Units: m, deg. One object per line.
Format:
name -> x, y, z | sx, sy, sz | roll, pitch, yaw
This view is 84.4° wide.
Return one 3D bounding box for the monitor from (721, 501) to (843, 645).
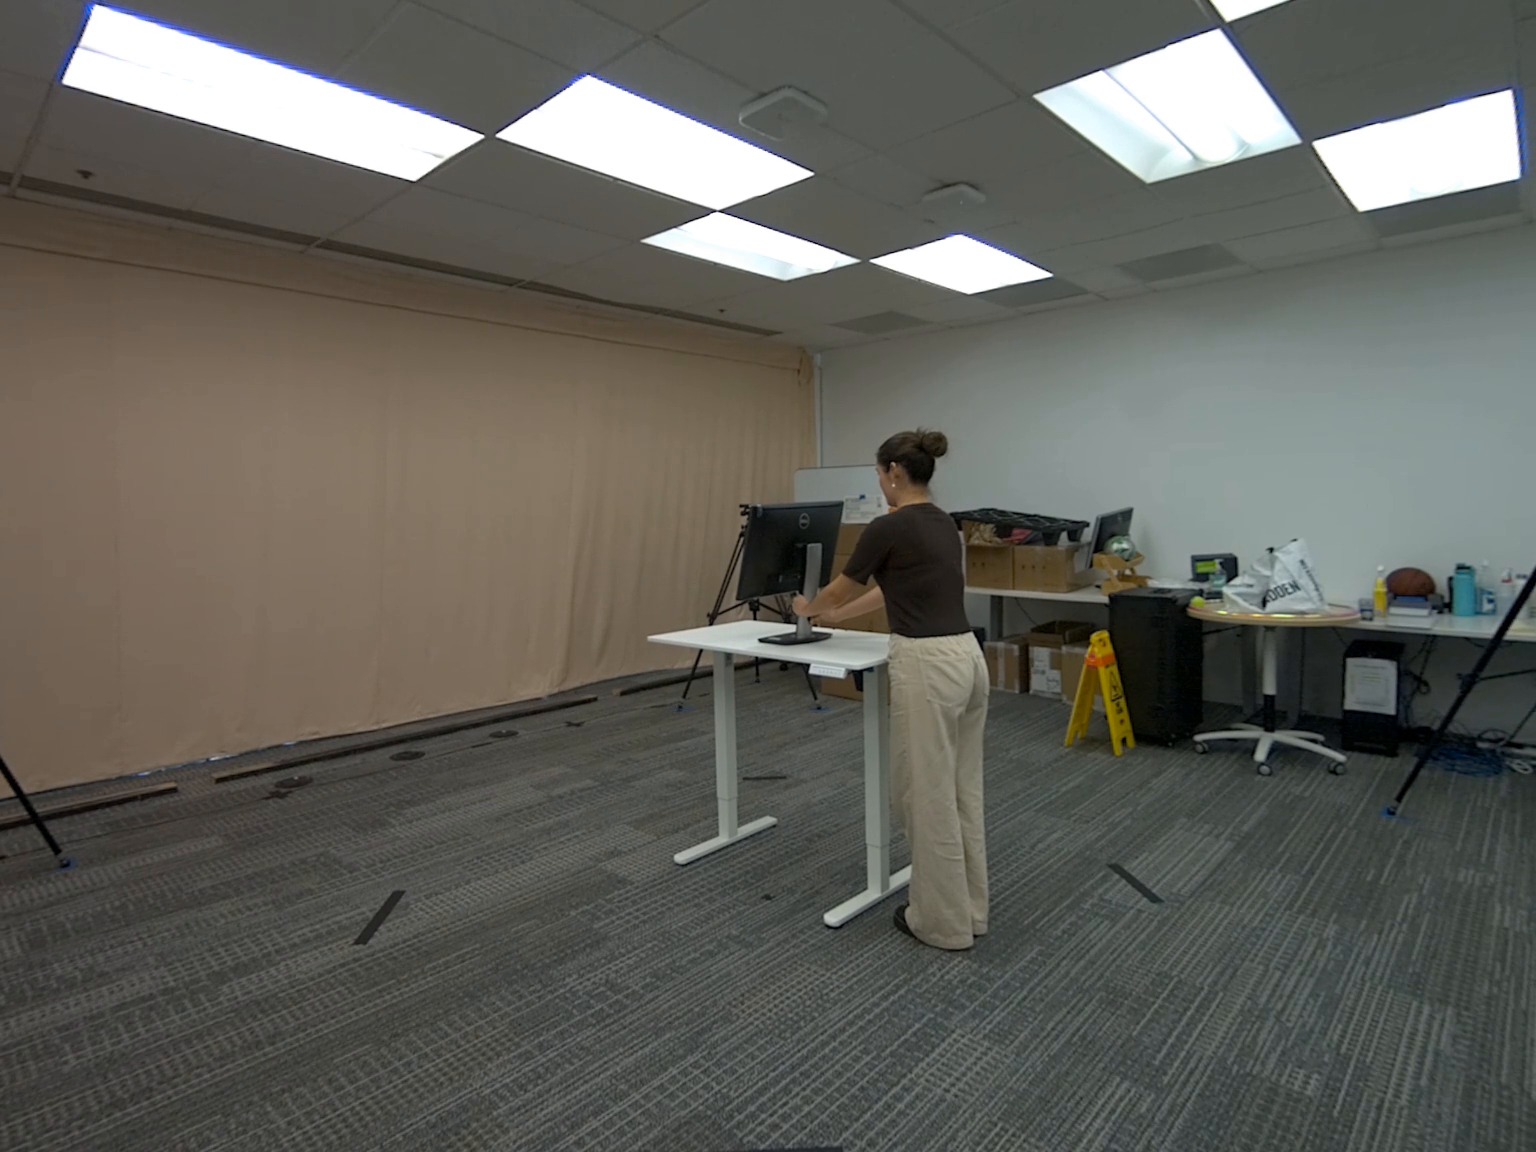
monitor -> 0.117, -0.015, 3.146 | 0.180, 0.515, 0.514 | -2, 3, 41
